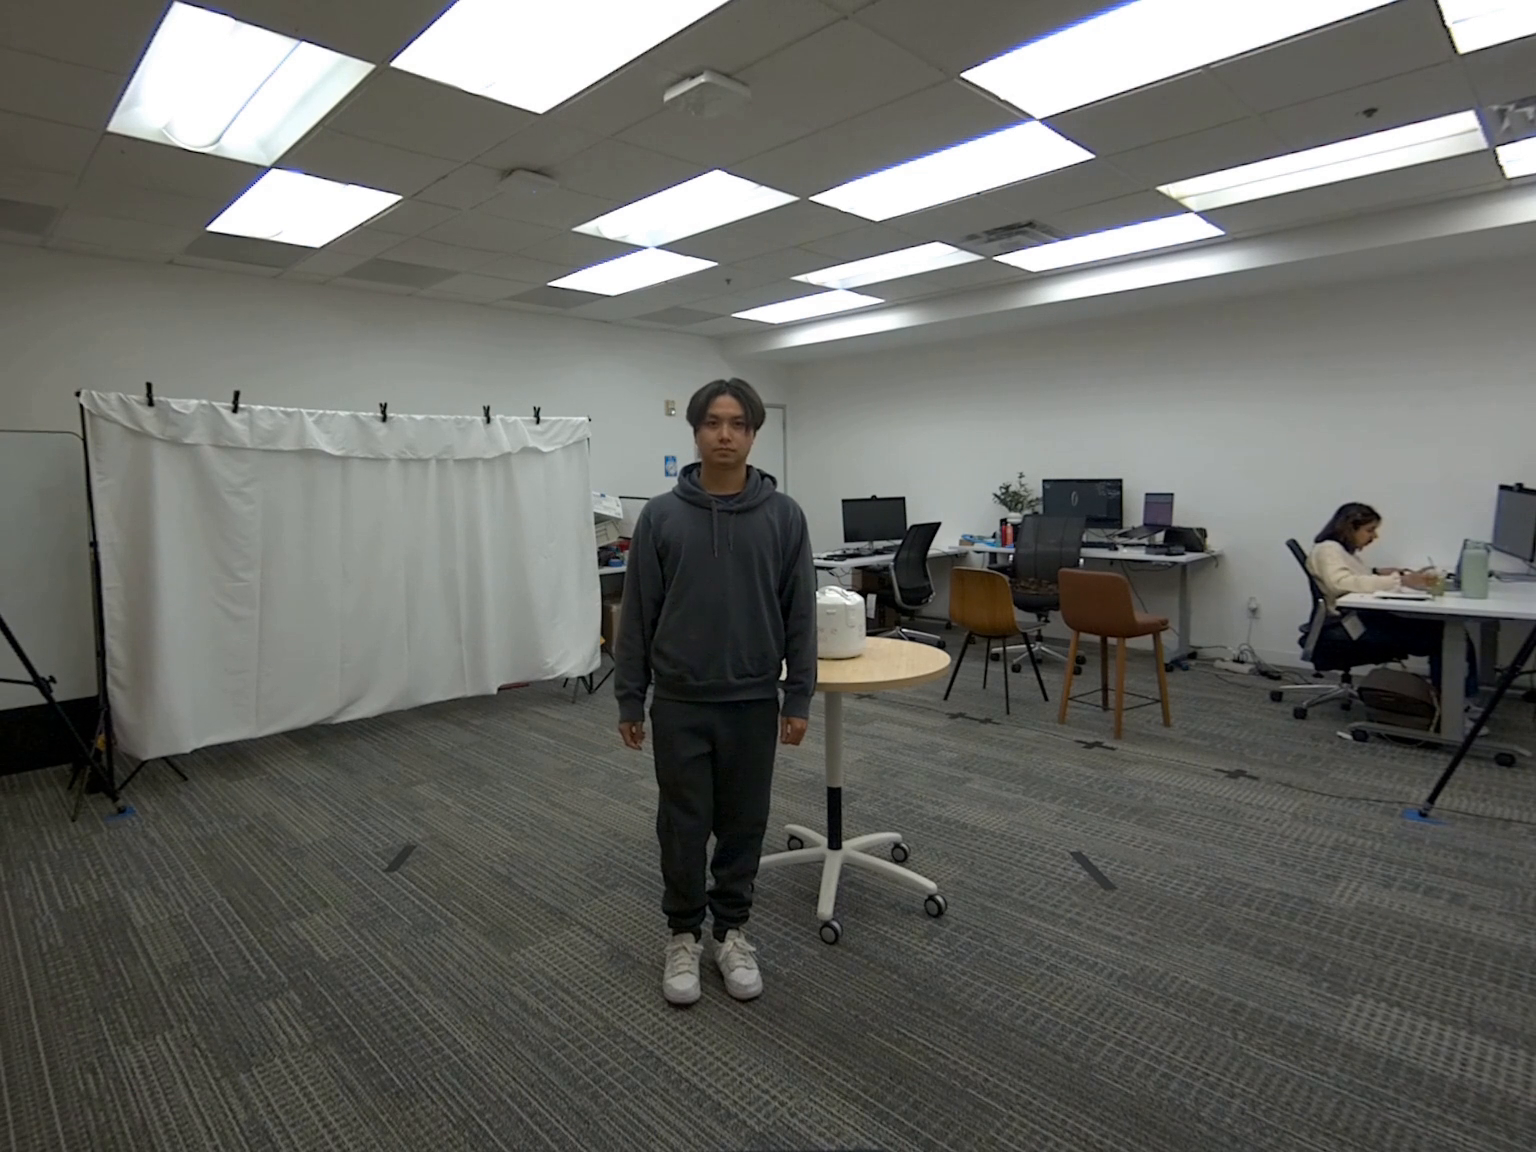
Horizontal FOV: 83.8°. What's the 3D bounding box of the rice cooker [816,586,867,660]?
[{"bbox_3d":[0.225,0.150,2.875,0.213,0.232,0.226,-5,6,-28],"label":"rice cooker"}]
